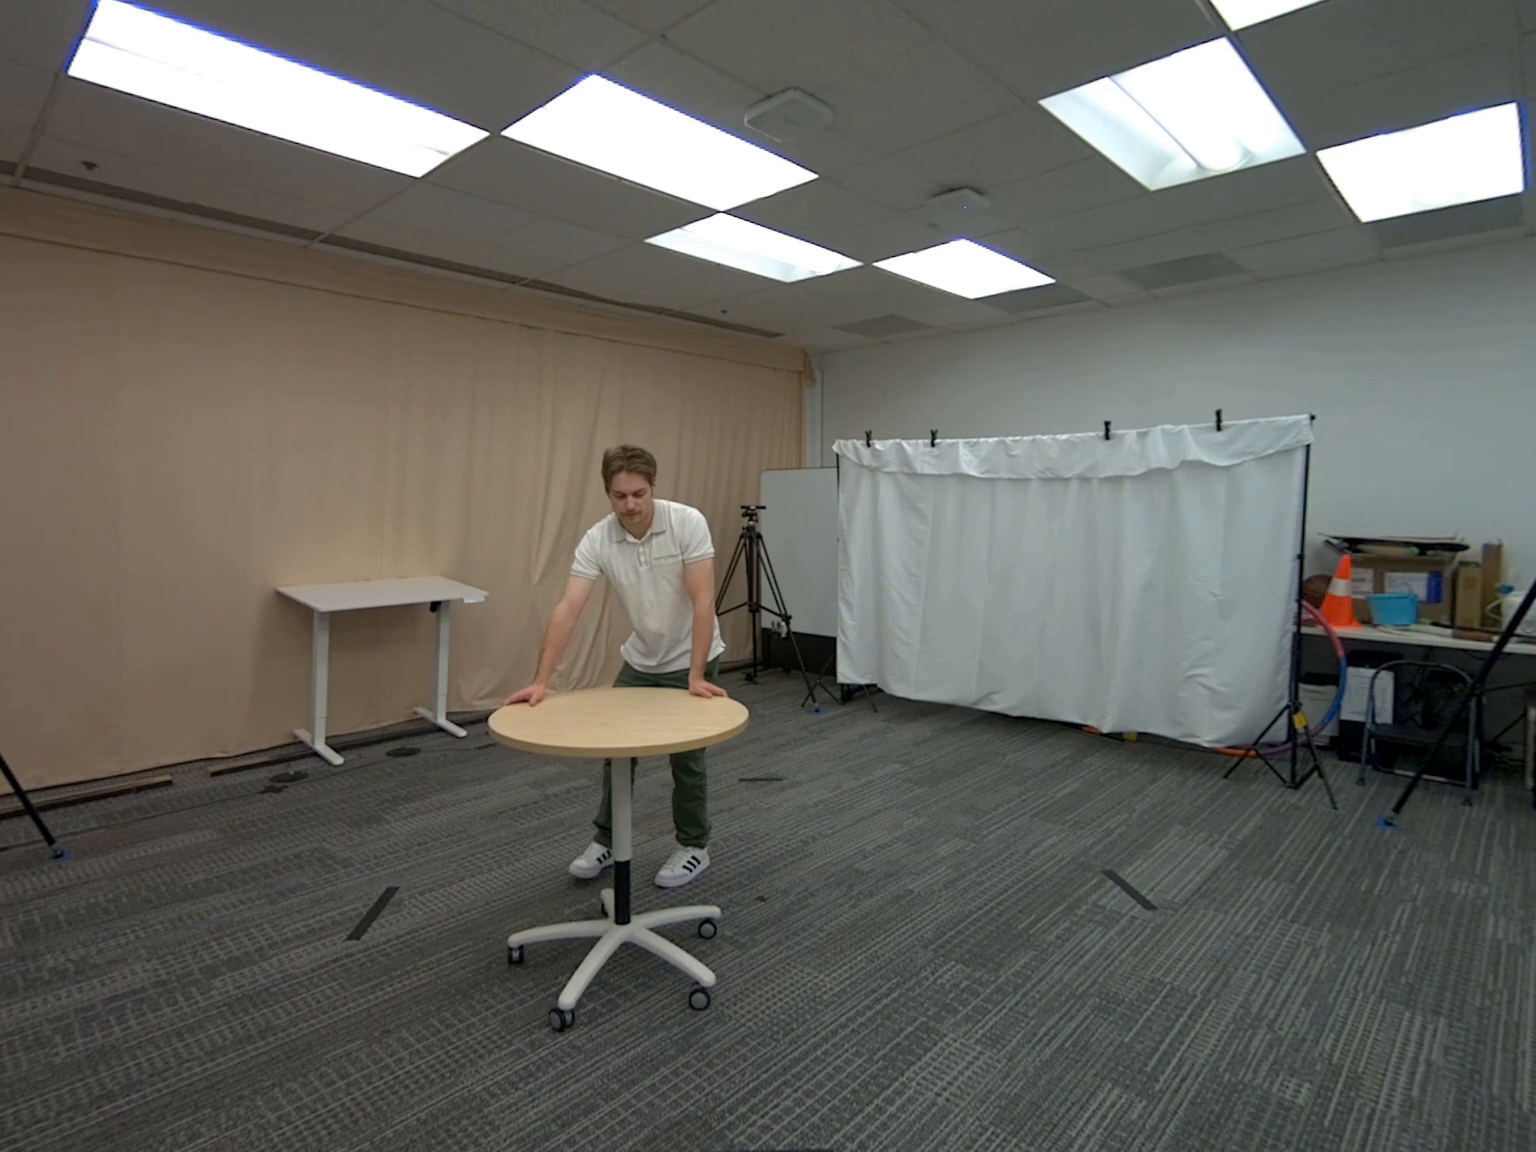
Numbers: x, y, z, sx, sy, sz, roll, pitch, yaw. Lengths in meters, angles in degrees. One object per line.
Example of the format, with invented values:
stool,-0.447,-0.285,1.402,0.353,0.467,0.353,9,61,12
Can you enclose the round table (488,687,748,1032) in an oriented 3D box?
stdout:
round table,-0.437,0.799,2.526,0.763,0.792,0.766,-1,3,-2
